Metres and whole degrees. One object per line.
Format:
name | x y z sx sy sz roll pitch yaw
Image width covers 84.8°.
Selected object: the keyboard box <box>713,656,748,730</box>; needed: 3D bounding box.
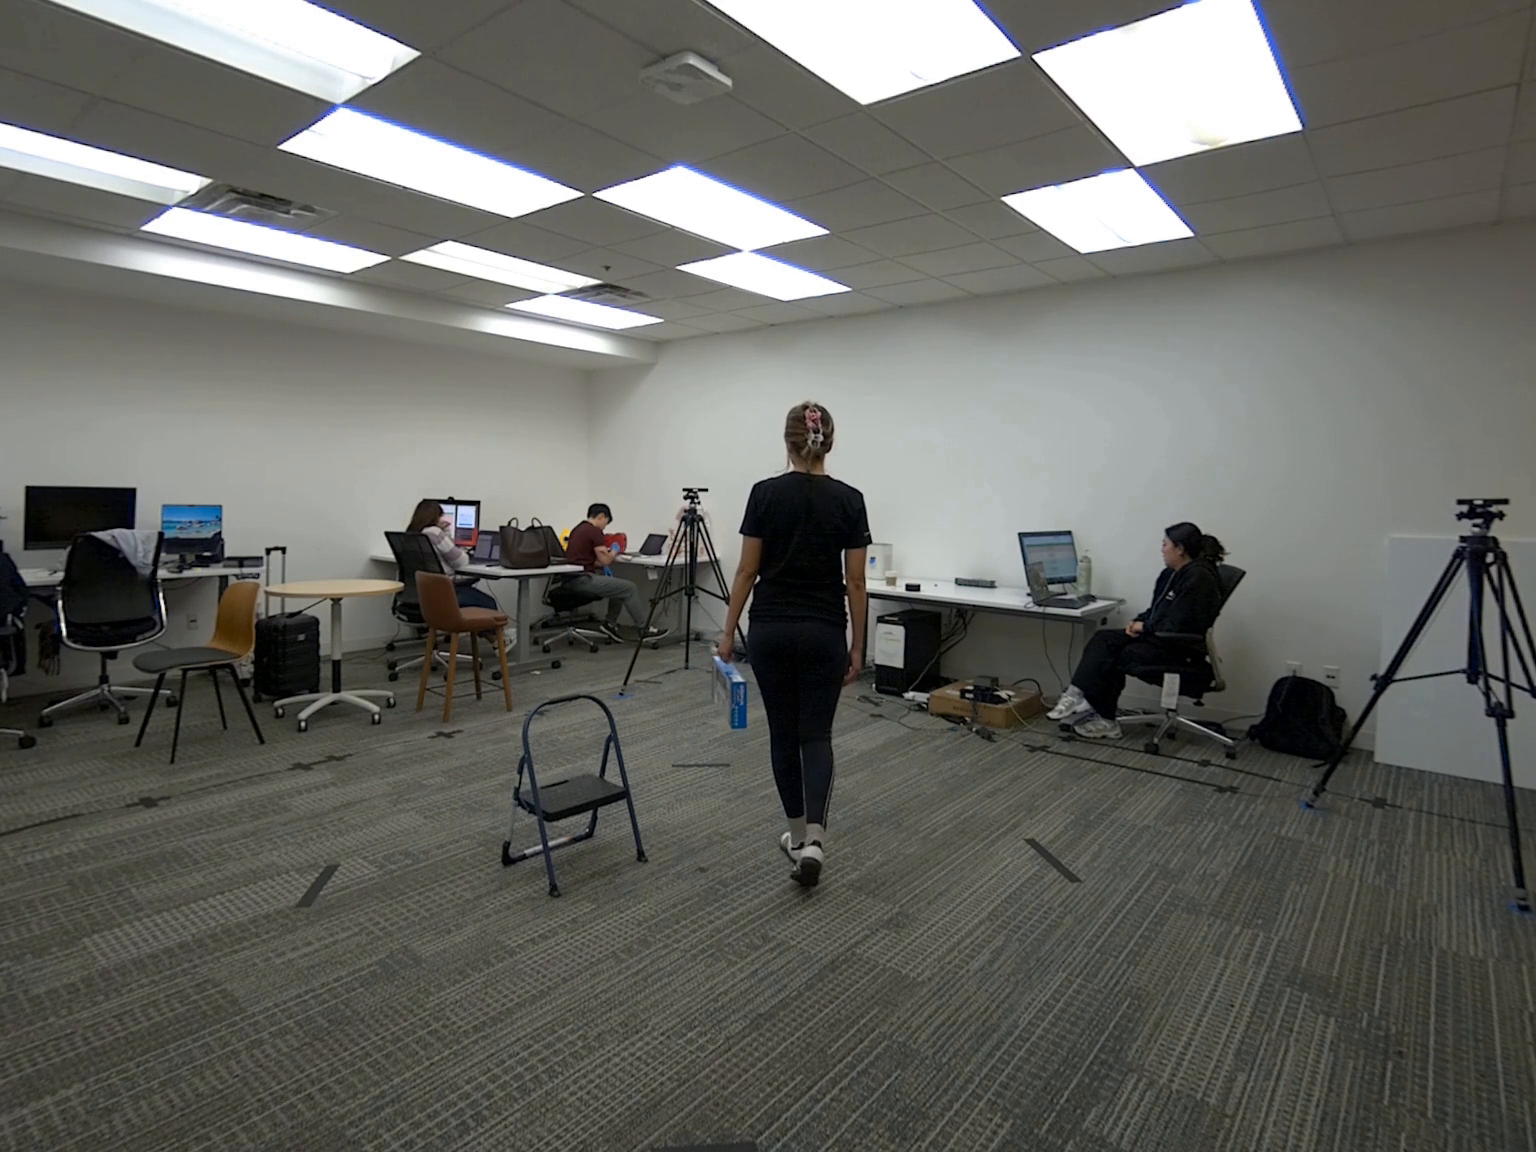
keyboard box | -0.166 0.430 3.267 0.058 0.175 0.444 -1 6 -13
